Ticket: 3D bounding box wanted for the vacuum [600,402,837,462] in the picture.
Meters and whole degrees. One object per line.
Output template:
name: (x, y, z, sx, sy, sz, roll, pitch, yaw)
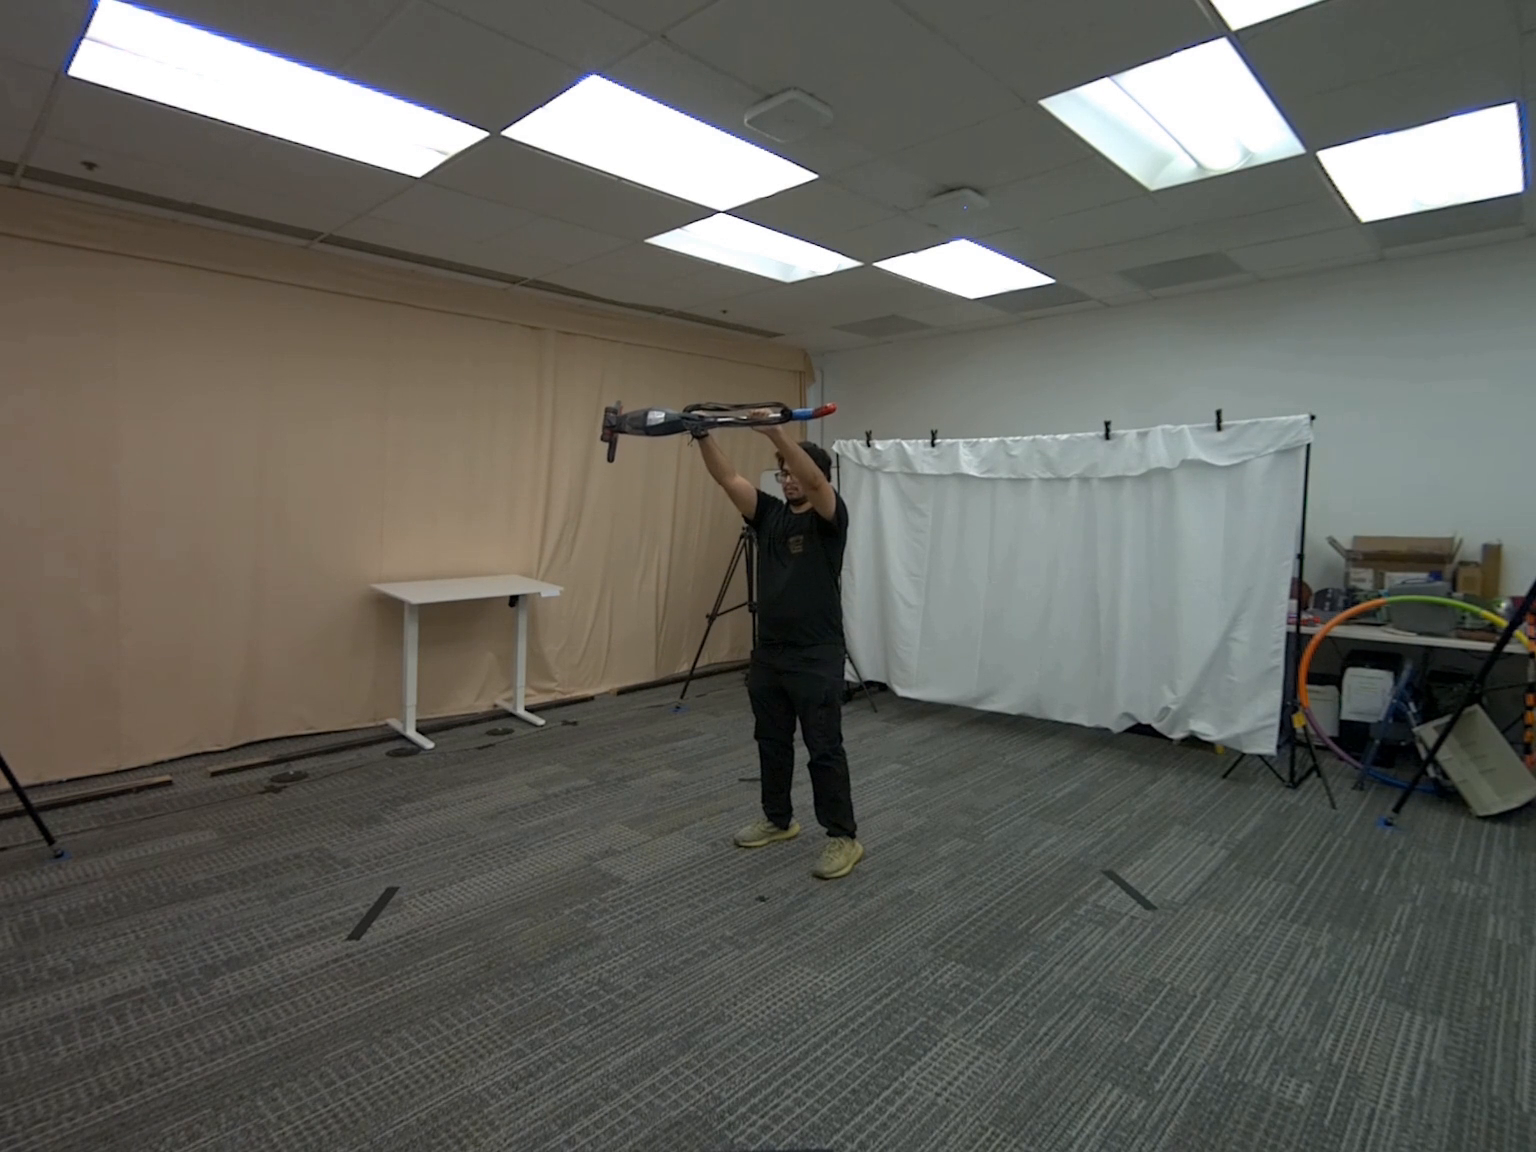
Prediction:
vacuum: (-0.209, -0.564, 3.004, 1.084, 0.253, 0.139, 3, -12, 39)
